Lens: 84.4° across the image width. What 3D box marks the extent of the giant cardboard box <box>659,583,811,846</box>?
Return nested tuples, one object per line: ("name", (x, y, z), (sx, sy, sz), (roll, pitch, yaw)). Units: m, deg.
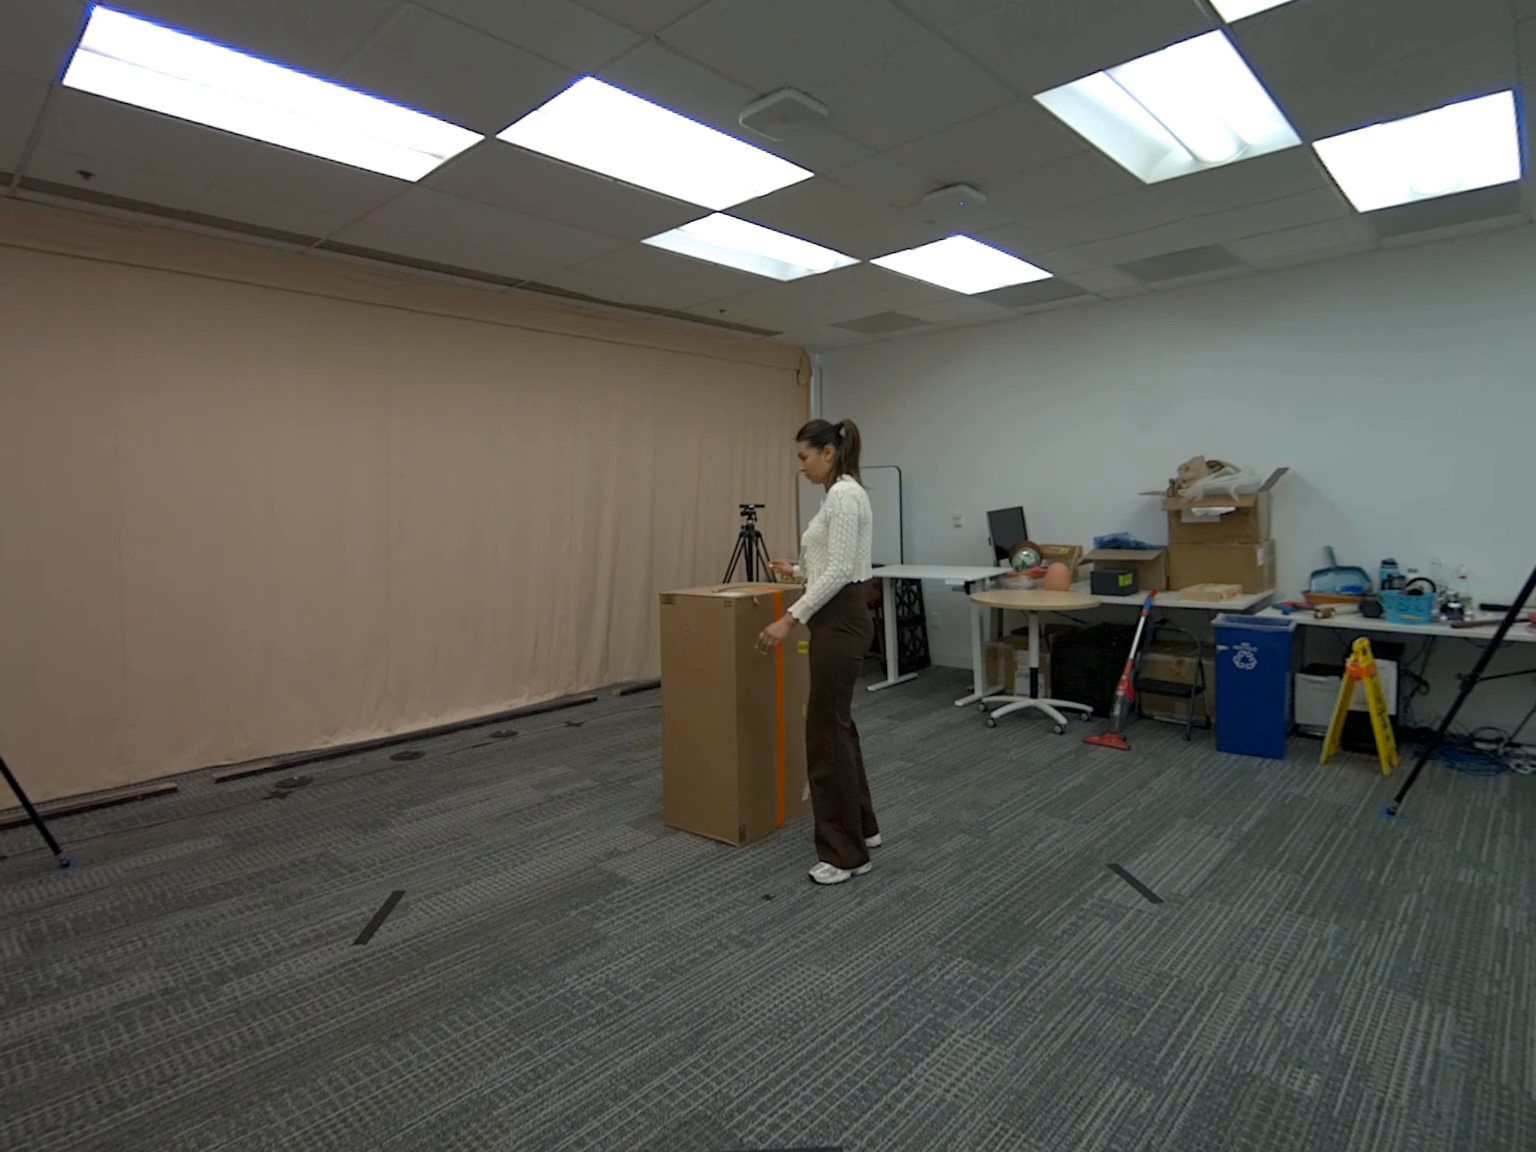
("giant cardboard box", (-0.127, 0.565, 3.750), (0.440, 1.024, 0.560), (1, 3, 38))
